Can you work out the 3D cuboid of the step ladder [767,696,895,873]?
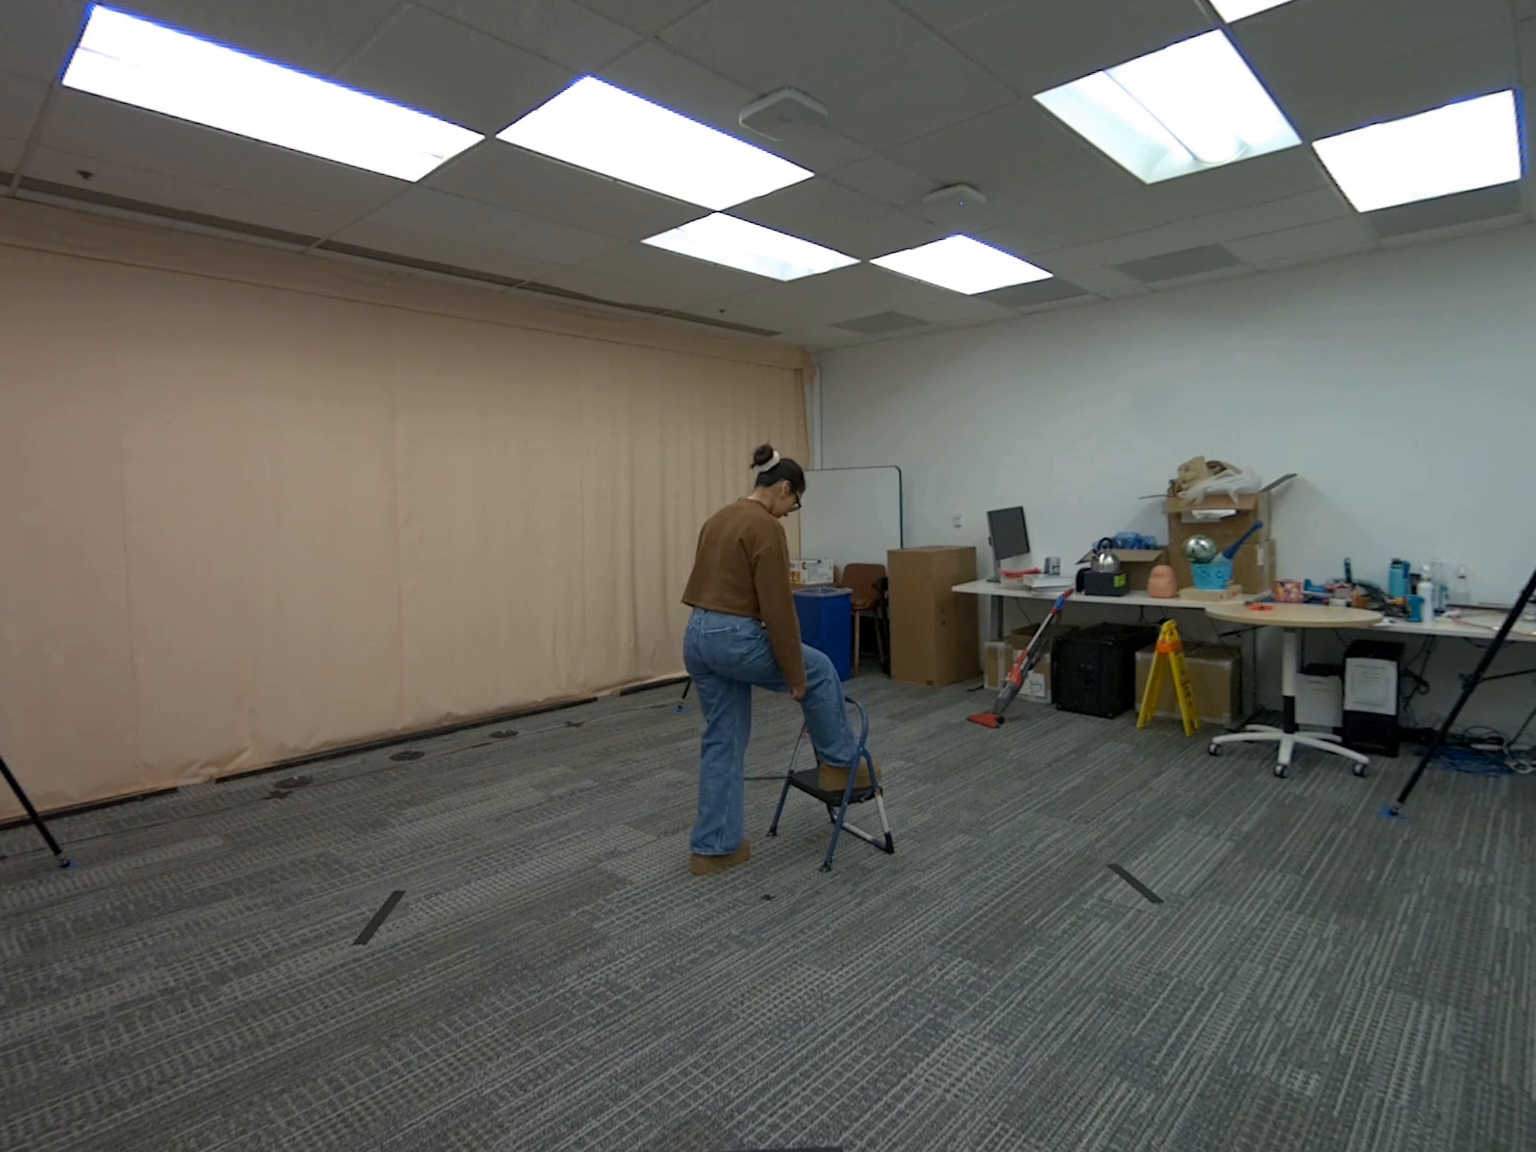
[{"bbox_3d":[0.248,0.796,3.427,0.340,0.605,0.443,-3,4,-30],"label":"step ladder"}]
